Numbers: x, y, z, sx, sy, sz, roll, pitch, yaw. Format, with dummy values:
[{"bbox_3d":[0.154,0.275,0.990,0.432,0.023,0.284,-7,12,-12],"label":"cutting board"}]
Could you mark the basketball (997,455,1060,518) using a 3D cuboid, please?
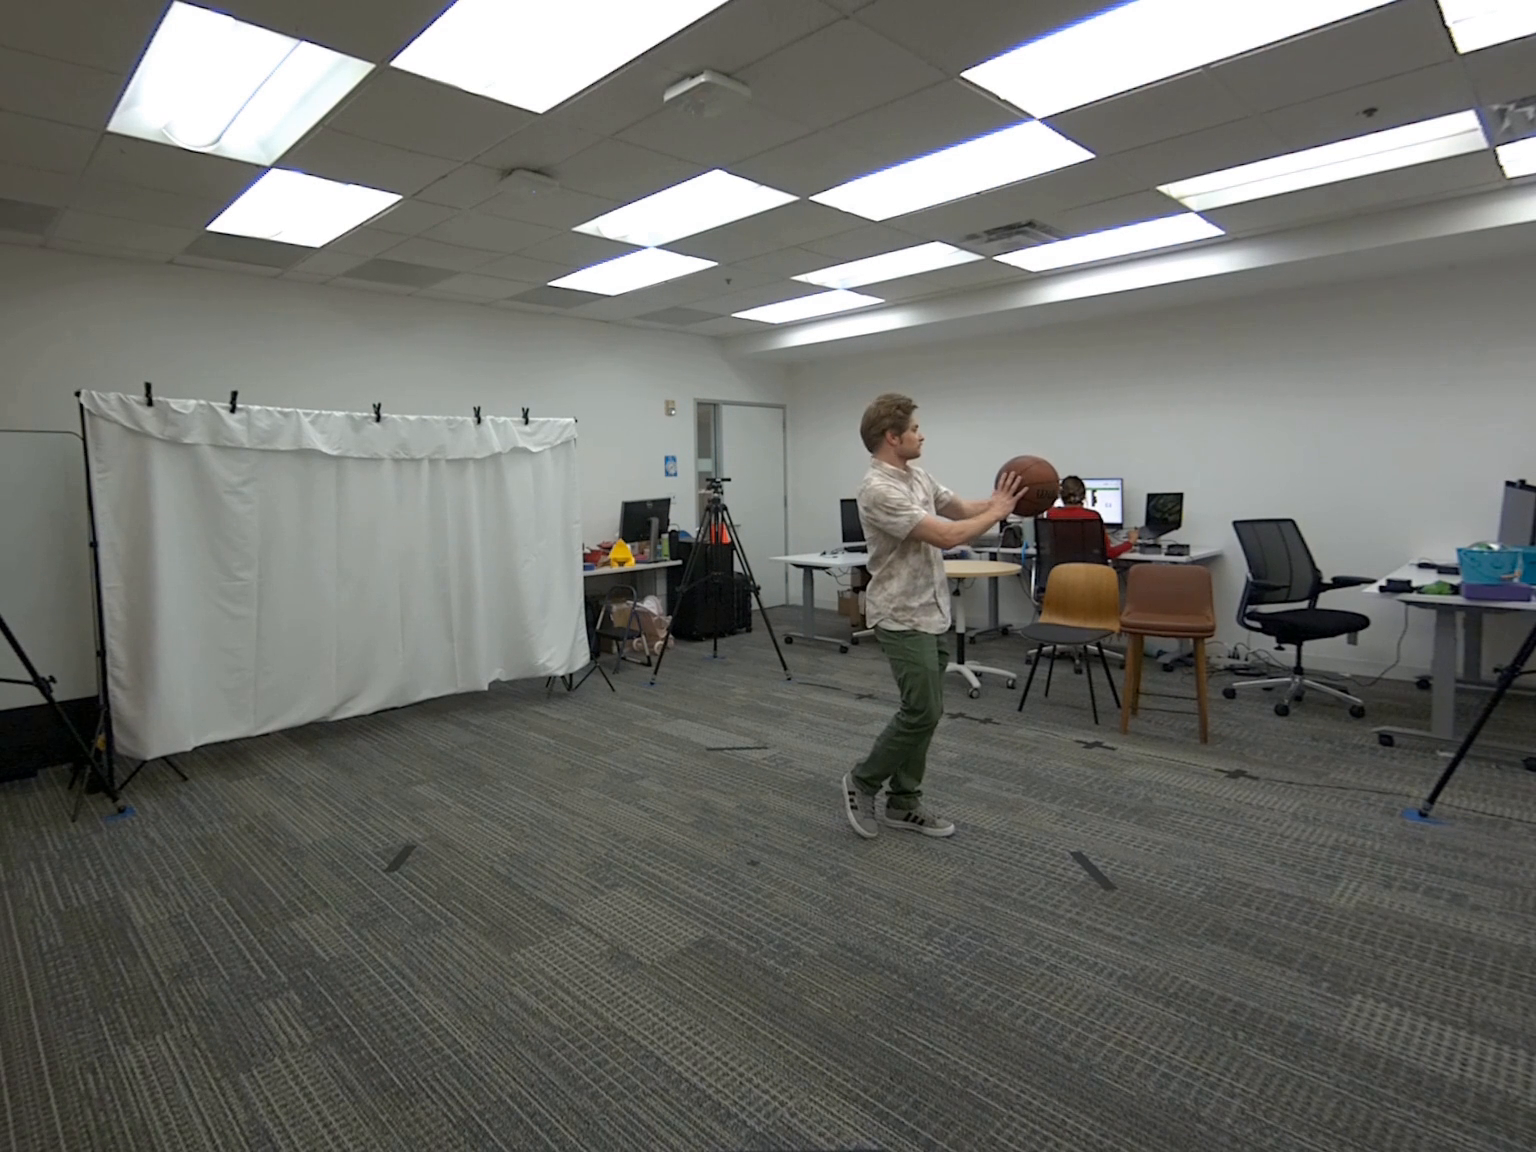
[{"bbox_3d":[0.988,-0.342,3.286,0.236,0.235,0.237,-1,5,-2],"label":"basketball"}]
